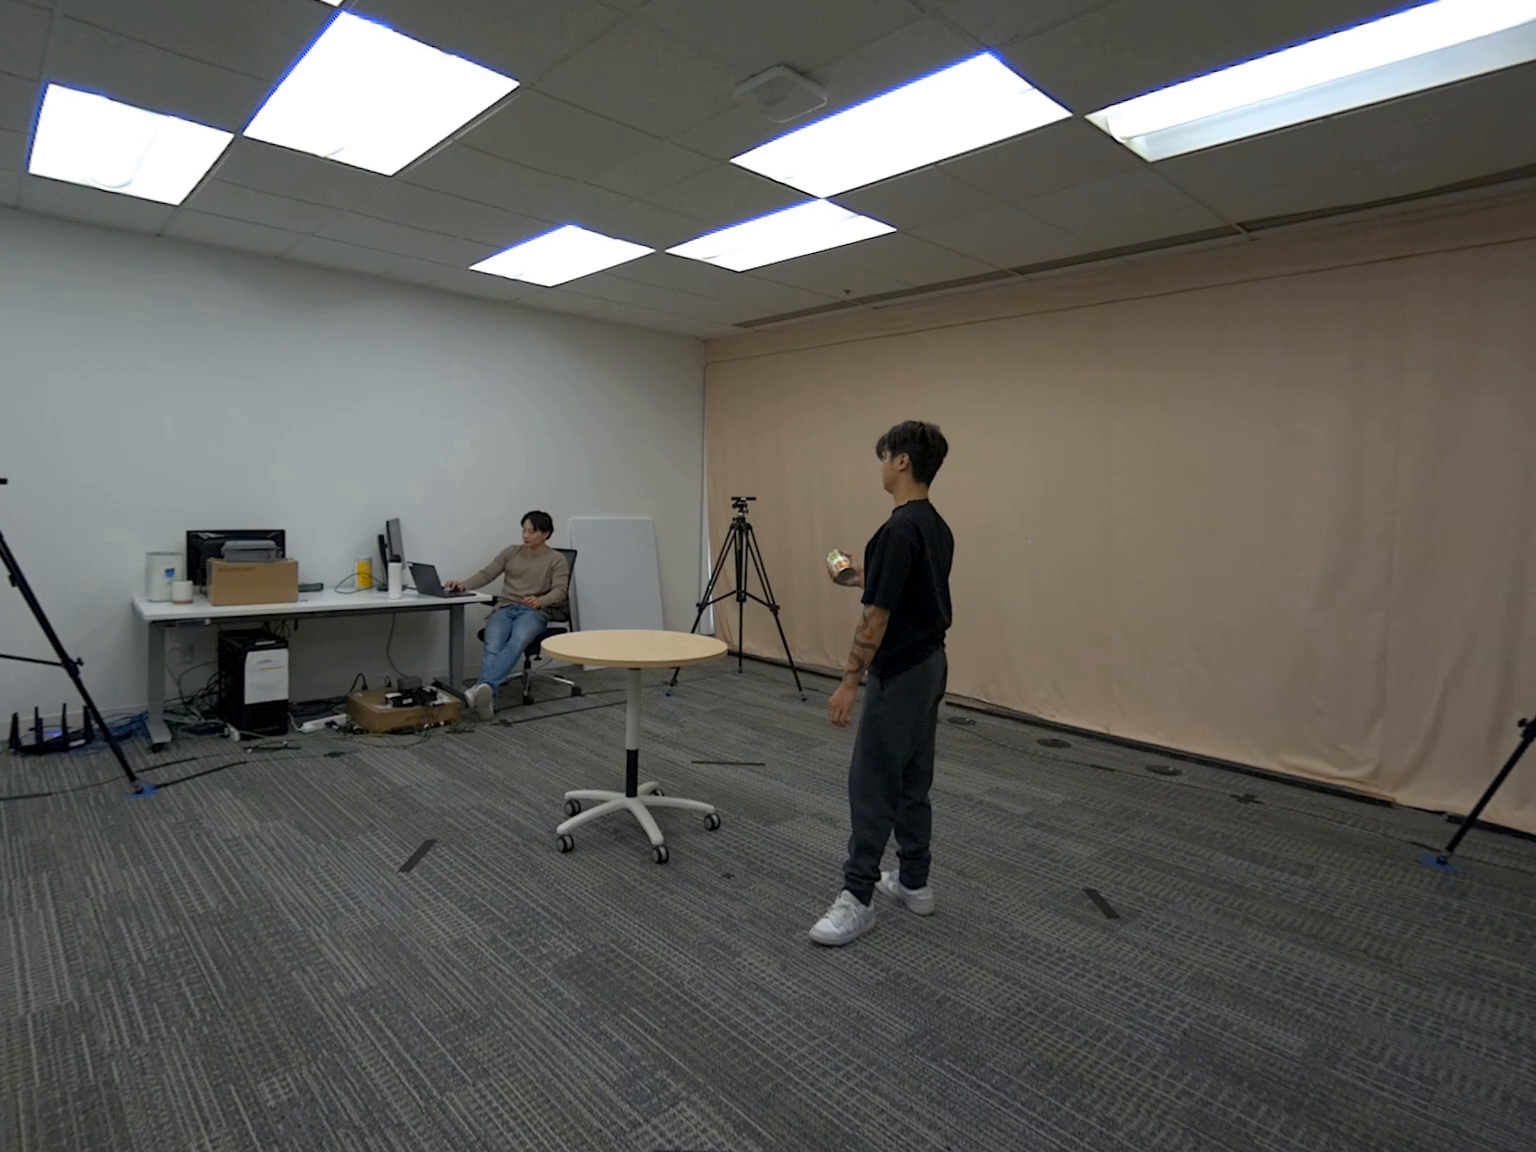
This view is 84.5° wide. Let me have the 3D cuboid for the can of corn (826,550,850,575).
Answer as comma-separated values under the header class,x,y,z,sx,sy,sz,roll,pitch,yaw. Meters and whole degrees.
class,x,y,z,sx,sy,sz,roll,pitch,yaw
can of corn,0.262,-0.040,3.131,0.073,0.073,0.114,0,38,-22
